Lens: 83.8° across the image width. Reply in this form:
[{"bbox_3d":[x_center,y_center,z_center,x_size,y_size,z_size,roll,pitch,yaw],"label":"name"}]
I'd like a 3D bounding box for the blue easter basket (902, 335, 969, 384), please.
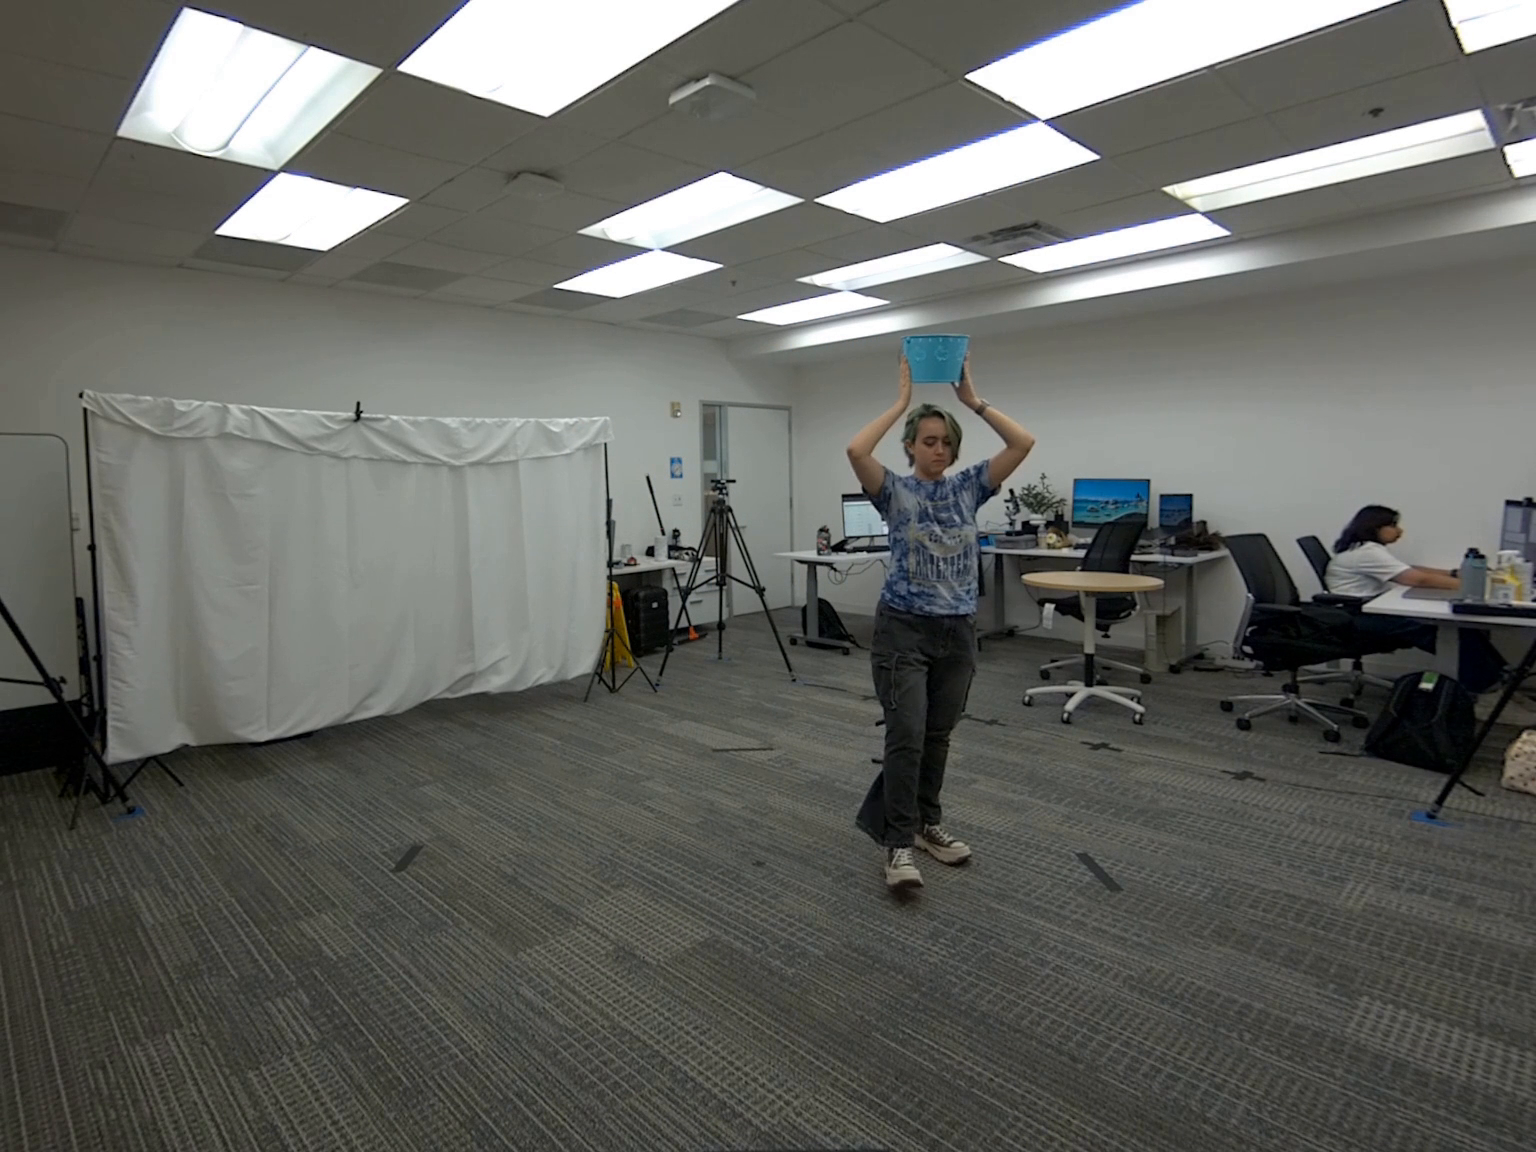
[{"bbox_3d":[0.586,-0.751,2.944,0.243,0.154,0.246,-1,11,-1],"label":"blue easter basket"}]
